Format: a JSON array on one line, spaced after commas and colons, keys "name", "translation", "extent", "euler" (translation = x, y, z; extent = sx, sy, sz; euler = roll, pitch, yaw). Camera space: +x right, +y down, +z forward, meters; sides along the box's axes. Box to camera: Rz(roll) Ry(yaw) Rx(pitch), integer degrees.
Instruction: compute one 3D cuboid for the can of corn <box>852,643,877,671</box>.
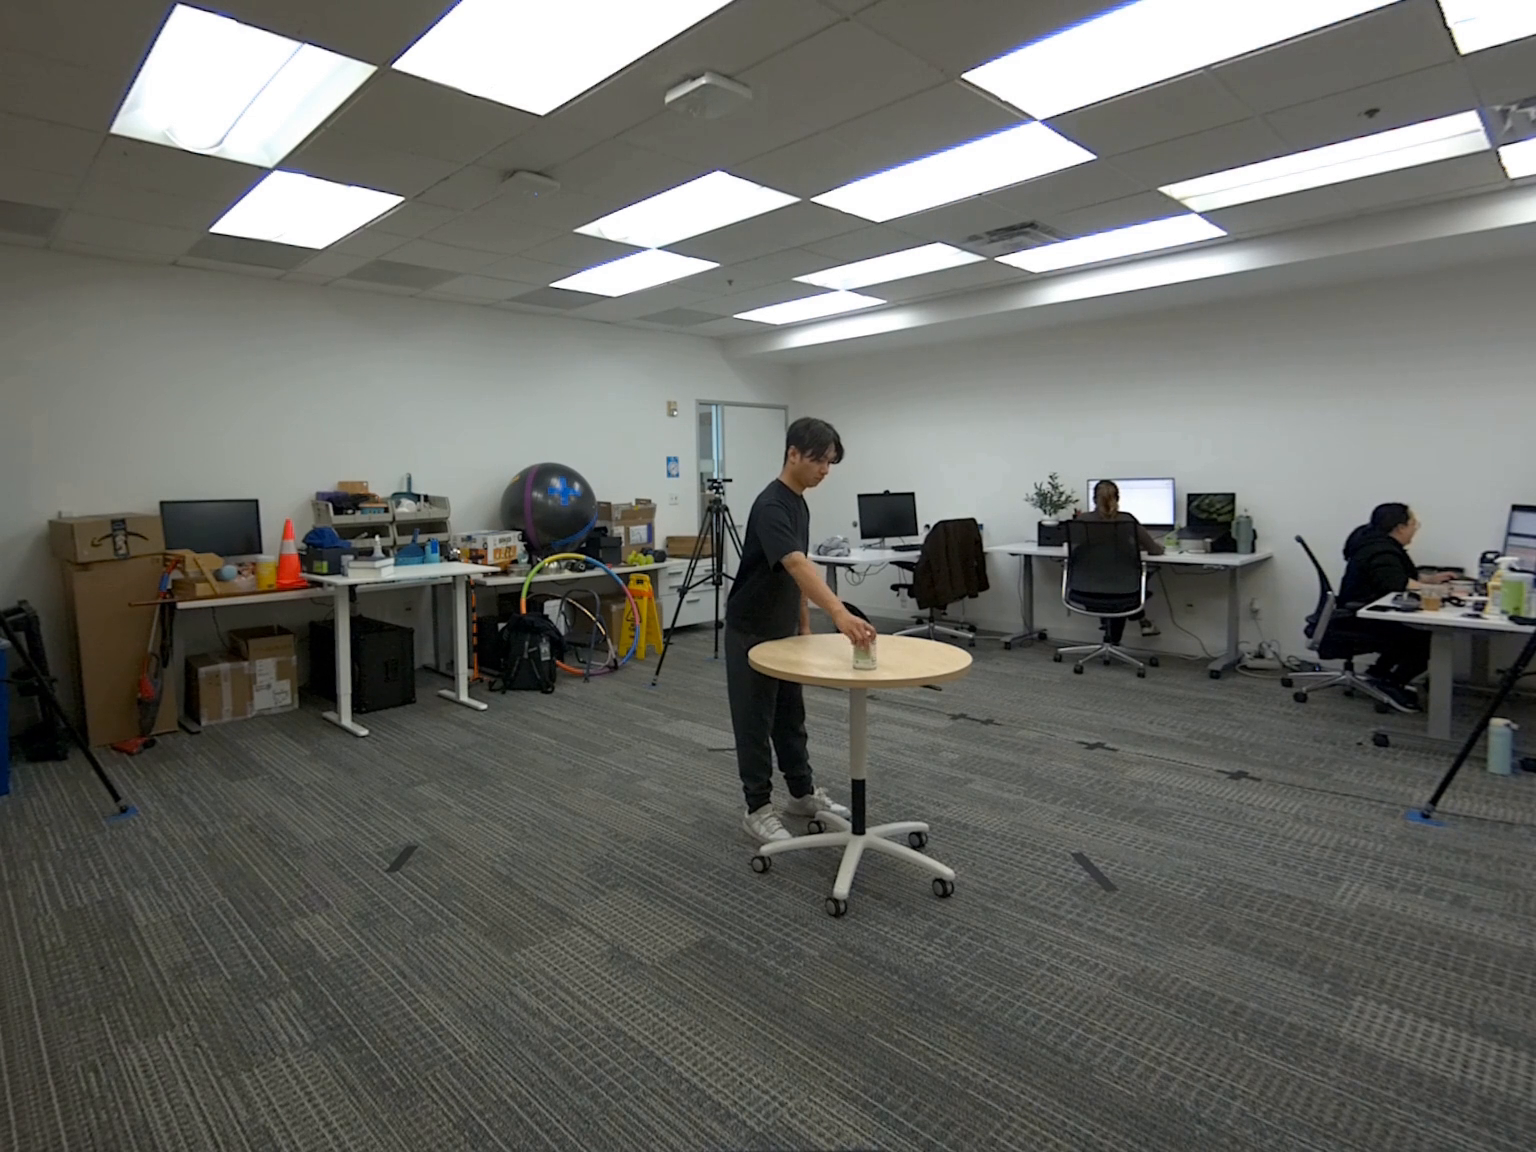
[{"name": "can of corn", "translation": [0.320, 0.240, 2.765], "extent": [0.074, 0.111, 0.074], "euler": [-2, 3, -2]}]
